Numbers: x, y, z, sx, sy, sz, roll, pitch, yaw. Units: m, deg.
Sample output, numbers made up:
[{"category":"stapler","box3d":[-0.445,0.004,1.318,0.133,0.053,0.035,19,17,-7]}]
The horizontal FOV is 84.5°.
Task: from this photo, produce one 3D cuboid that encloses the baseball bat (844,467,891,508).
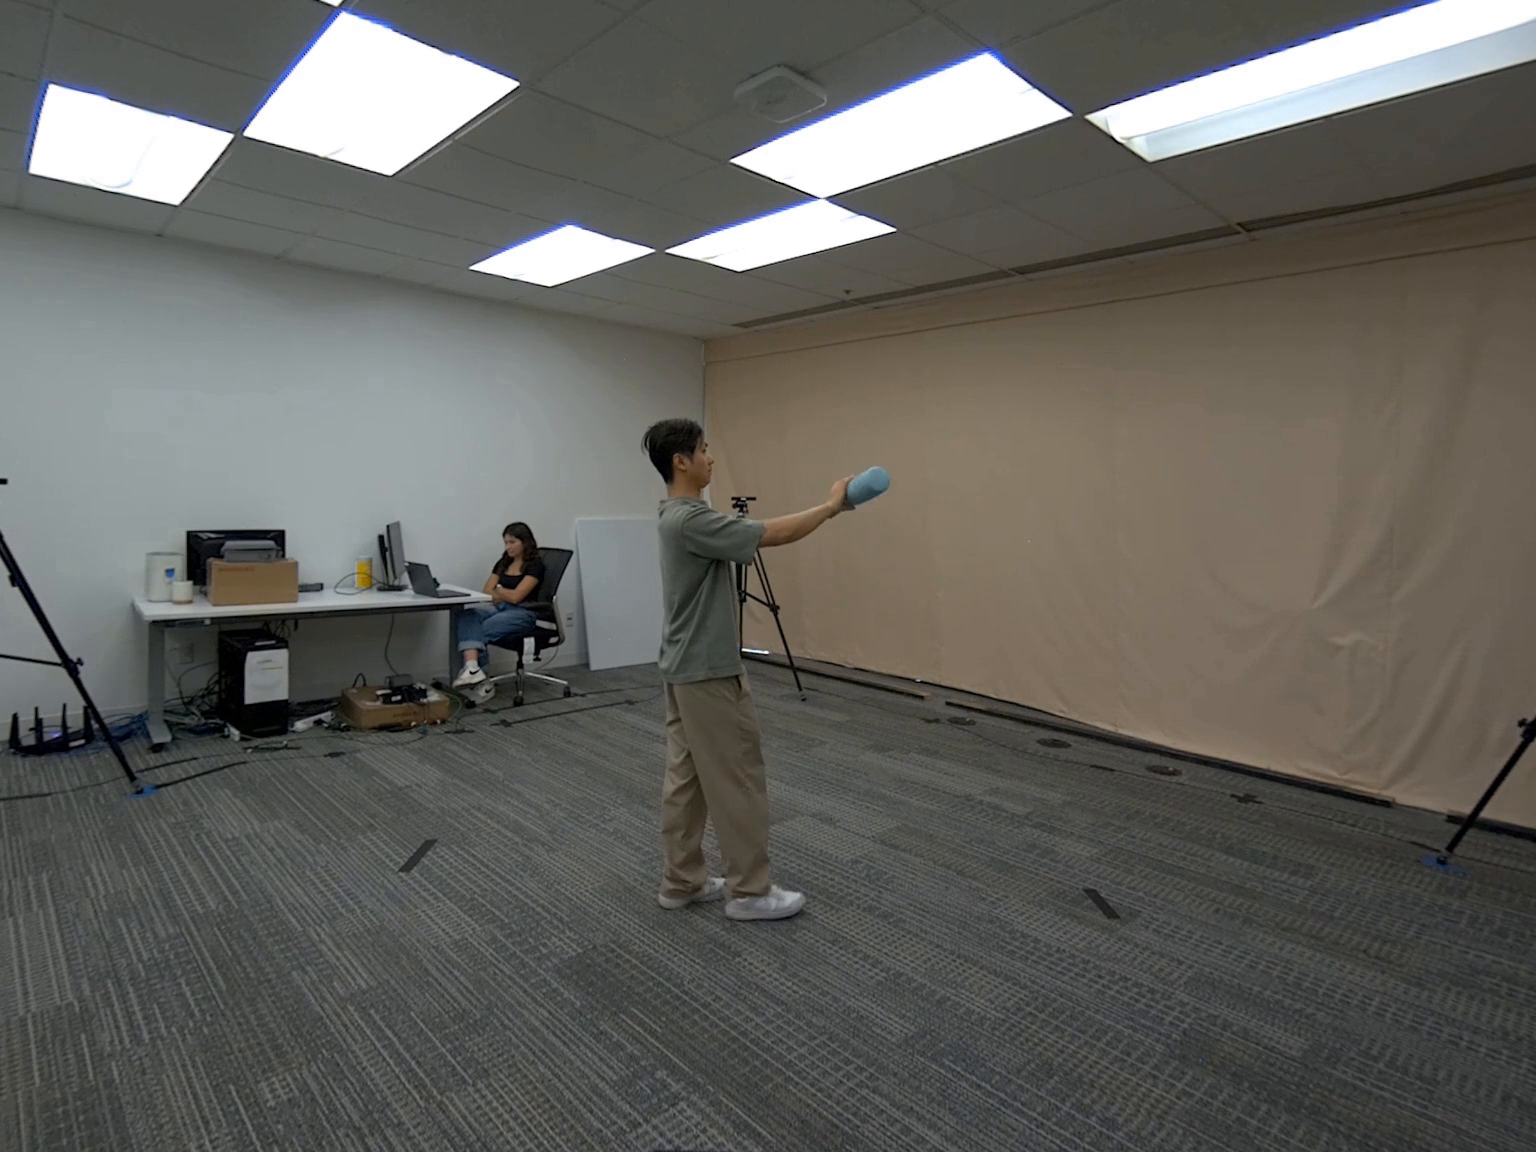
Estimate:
[{"category":"baseball bat","box3d":[0.277,-0.269,2.908,0.088,0.089,0.545,1,-8,-14]}]
